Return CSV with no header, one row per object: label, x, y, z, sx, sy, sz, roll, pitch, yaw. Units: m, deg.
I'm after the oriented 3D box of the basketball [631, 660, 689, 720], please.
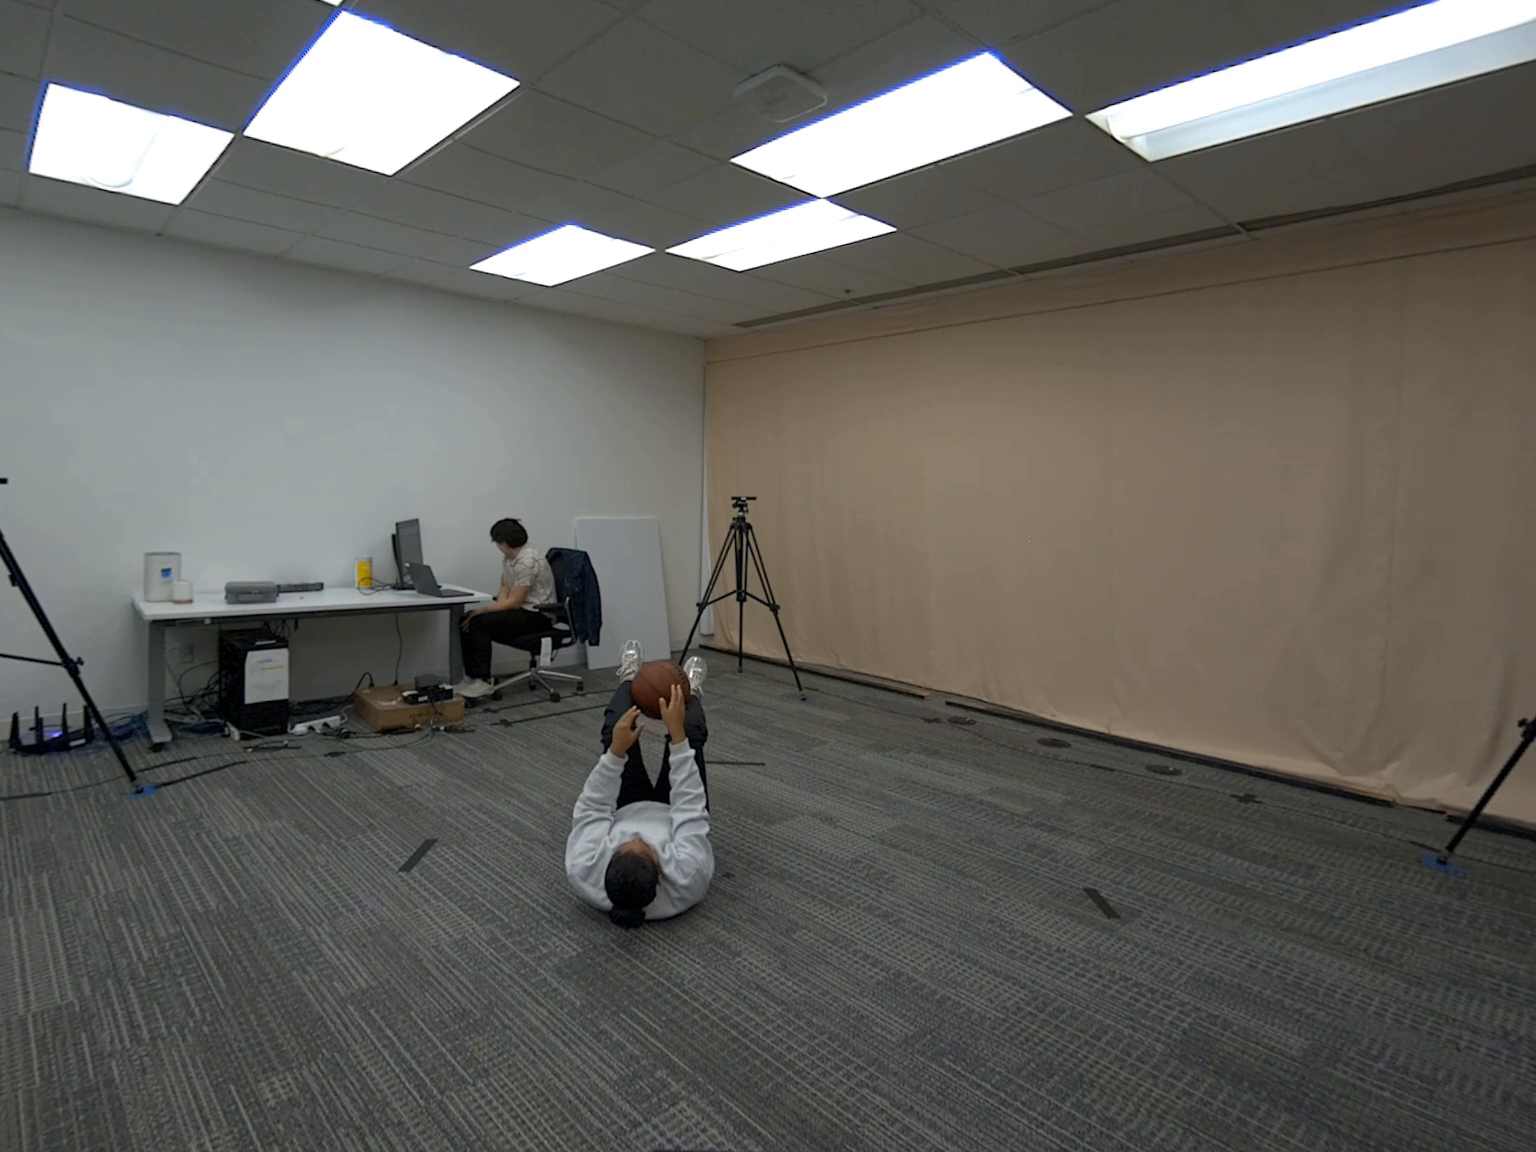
basketball,-0.436,0.458,3.382,0.236,0.235,0.237,1,4,-1
